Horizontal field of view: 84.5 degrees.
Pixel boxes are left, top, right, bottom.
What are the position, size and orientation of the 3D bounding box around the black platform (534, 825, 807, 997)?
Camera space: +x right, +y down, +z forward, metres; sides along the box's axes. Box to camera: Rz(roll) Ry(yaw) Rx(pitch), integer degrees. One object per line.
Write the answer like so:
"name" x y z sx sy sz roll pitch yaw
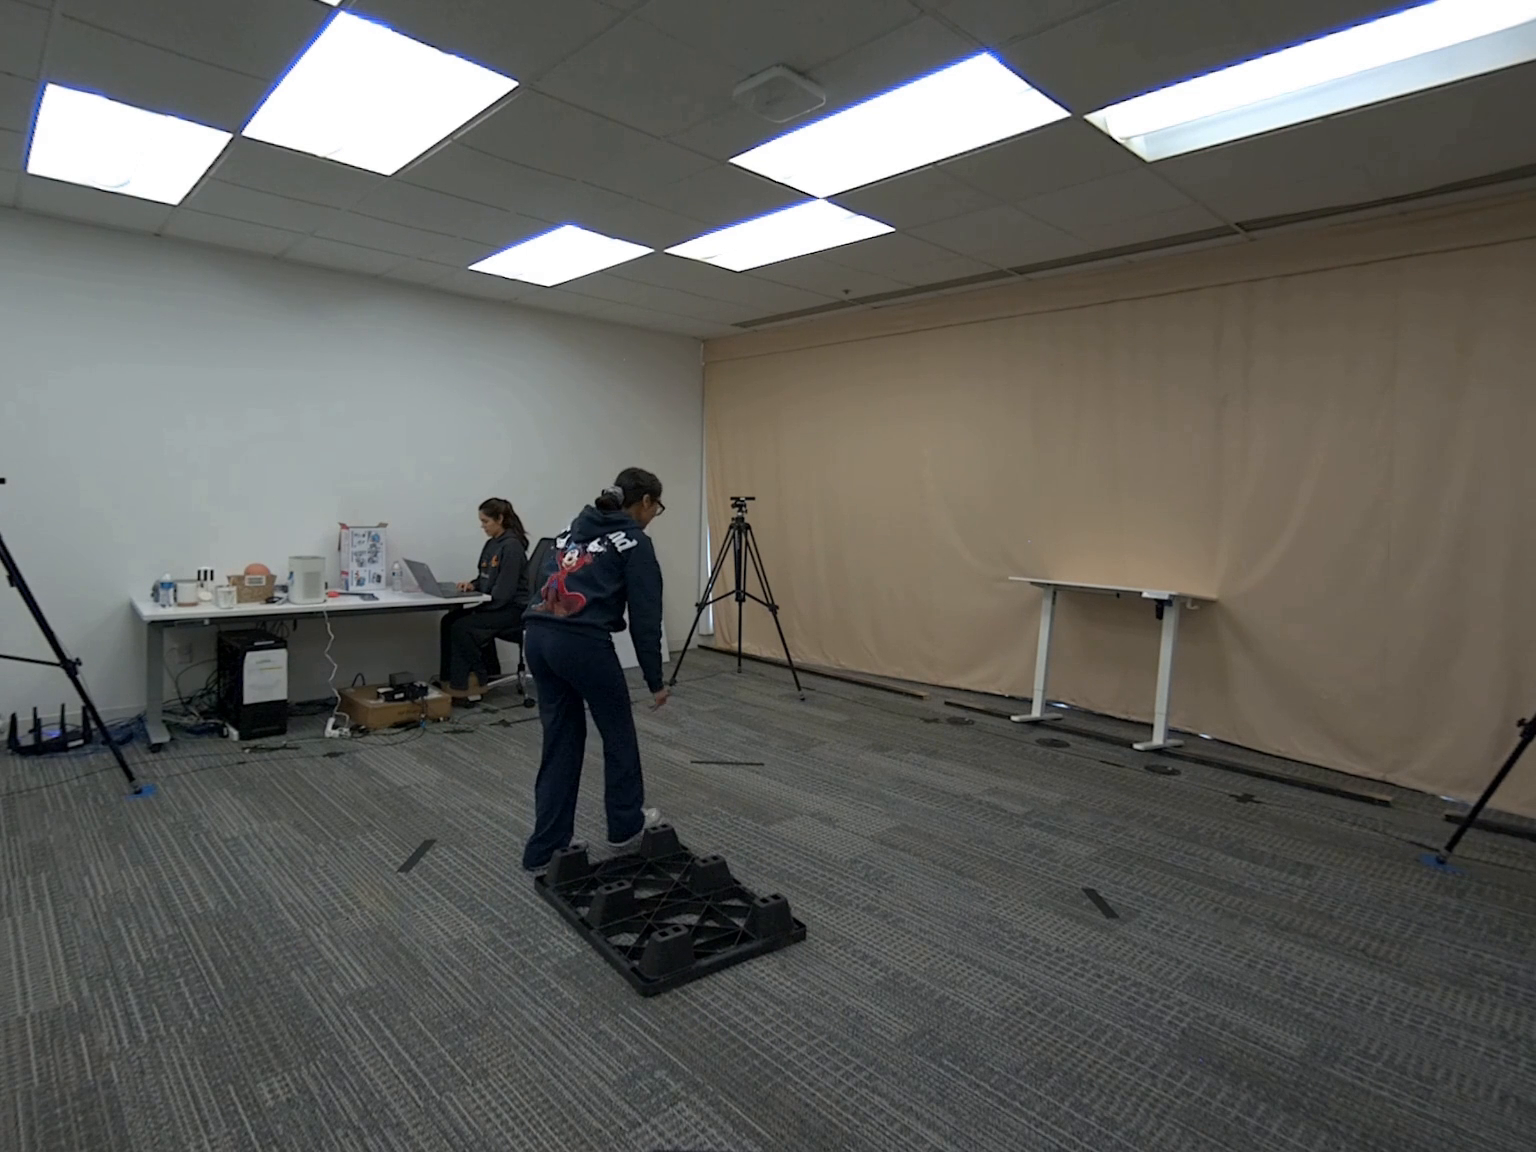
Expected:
"black platform" -0.346 1.062 2.816 0.592 0.143 0.826 -3 7 -38
